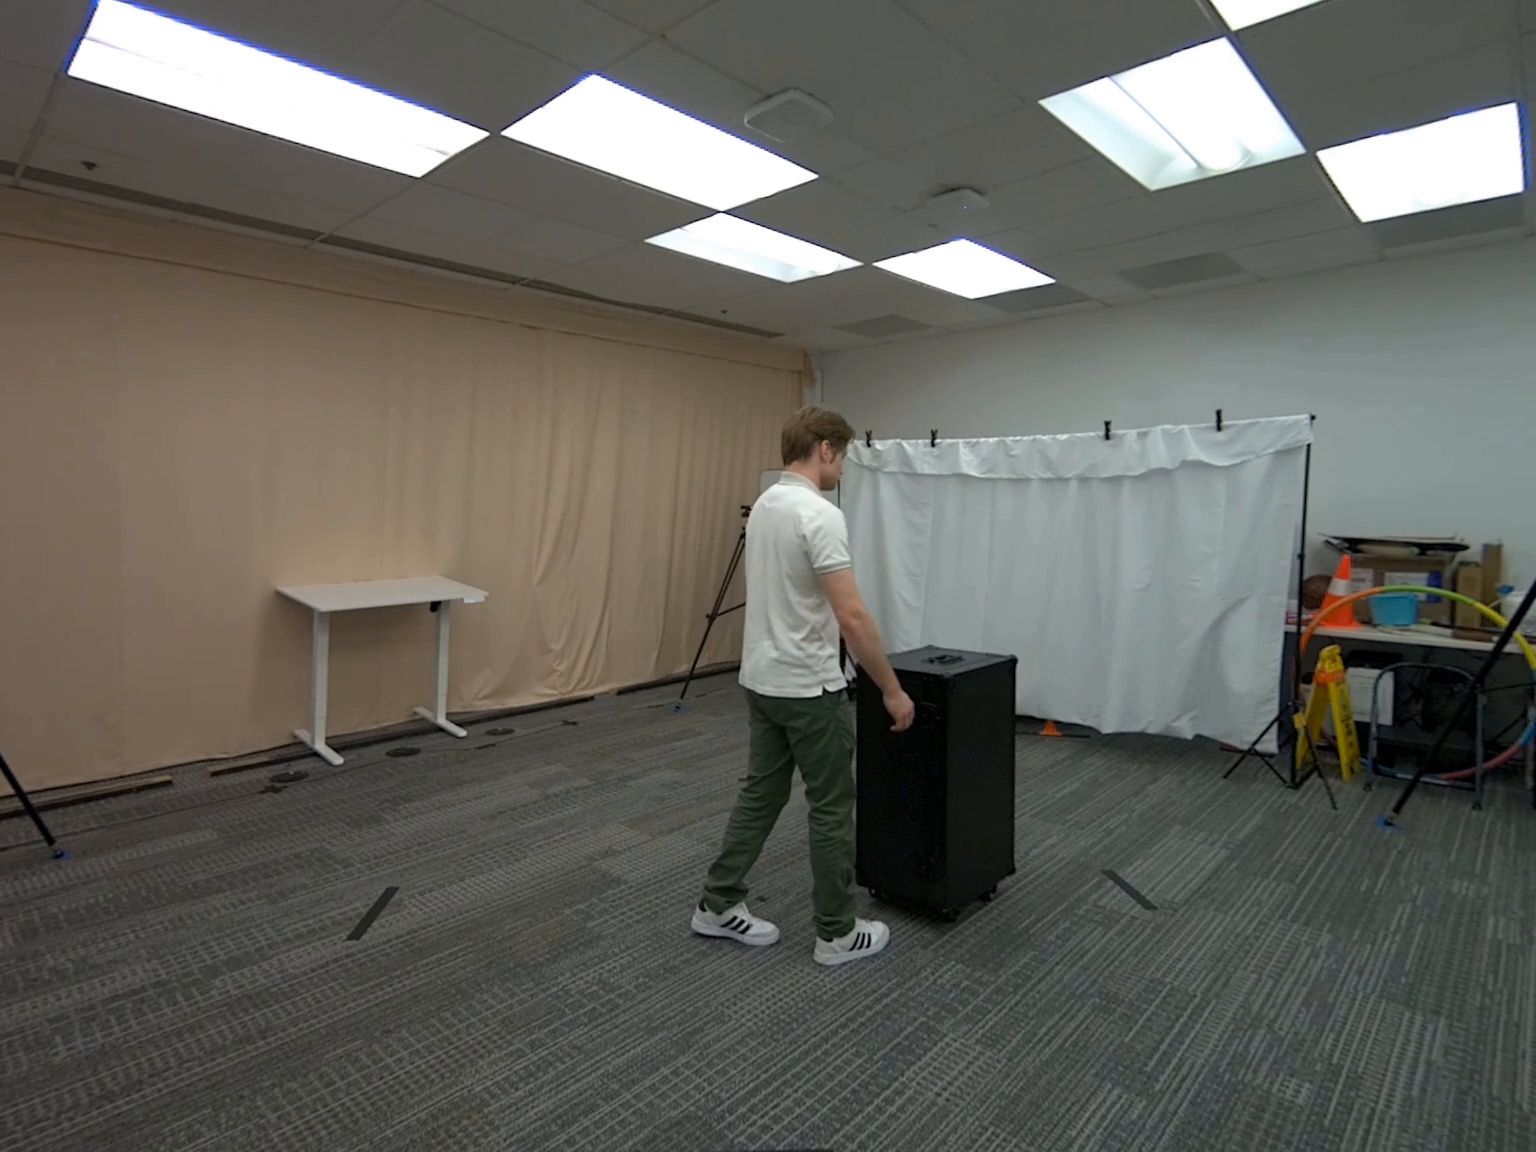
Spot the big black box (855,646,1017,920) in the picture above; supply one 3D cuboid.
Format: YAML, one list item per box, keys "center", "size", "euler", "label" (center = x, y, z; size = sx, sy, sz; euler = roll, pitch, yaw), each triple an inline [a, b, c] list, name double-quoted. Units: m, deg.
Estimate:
- center: [0.595, 0.721, 2.966]
  size: [0.398, 0.867, 0.507]
  euler: [2, 4, 42]
  label: "big black box"
